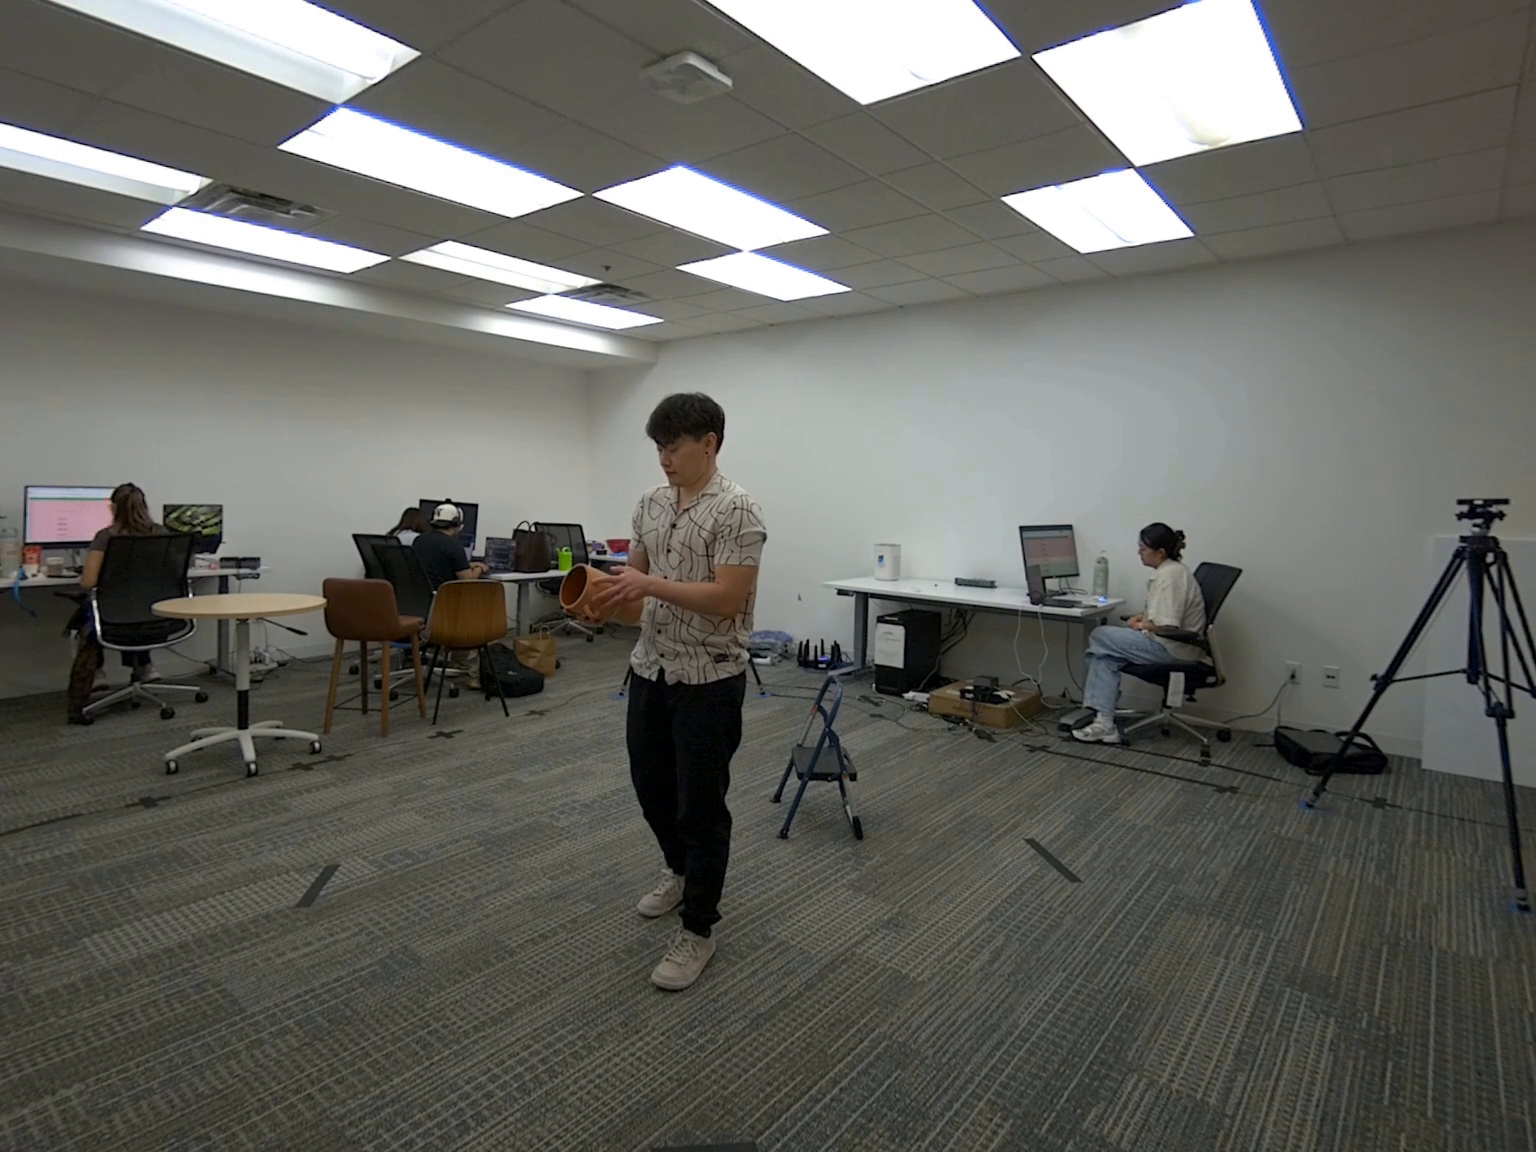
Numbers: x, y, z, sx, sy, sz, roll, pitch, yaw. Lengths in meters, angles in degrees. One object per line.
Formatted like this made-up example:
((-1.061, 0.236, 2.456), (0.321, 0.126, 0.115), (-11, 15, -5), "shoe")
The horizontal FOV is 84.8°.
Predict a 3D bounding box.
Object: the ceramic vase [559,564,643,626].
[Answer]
((-0.489, 0.057, 2.447), (0.138, 0.161, 0.211), (-4, -24, 45), "ceramic vase")
